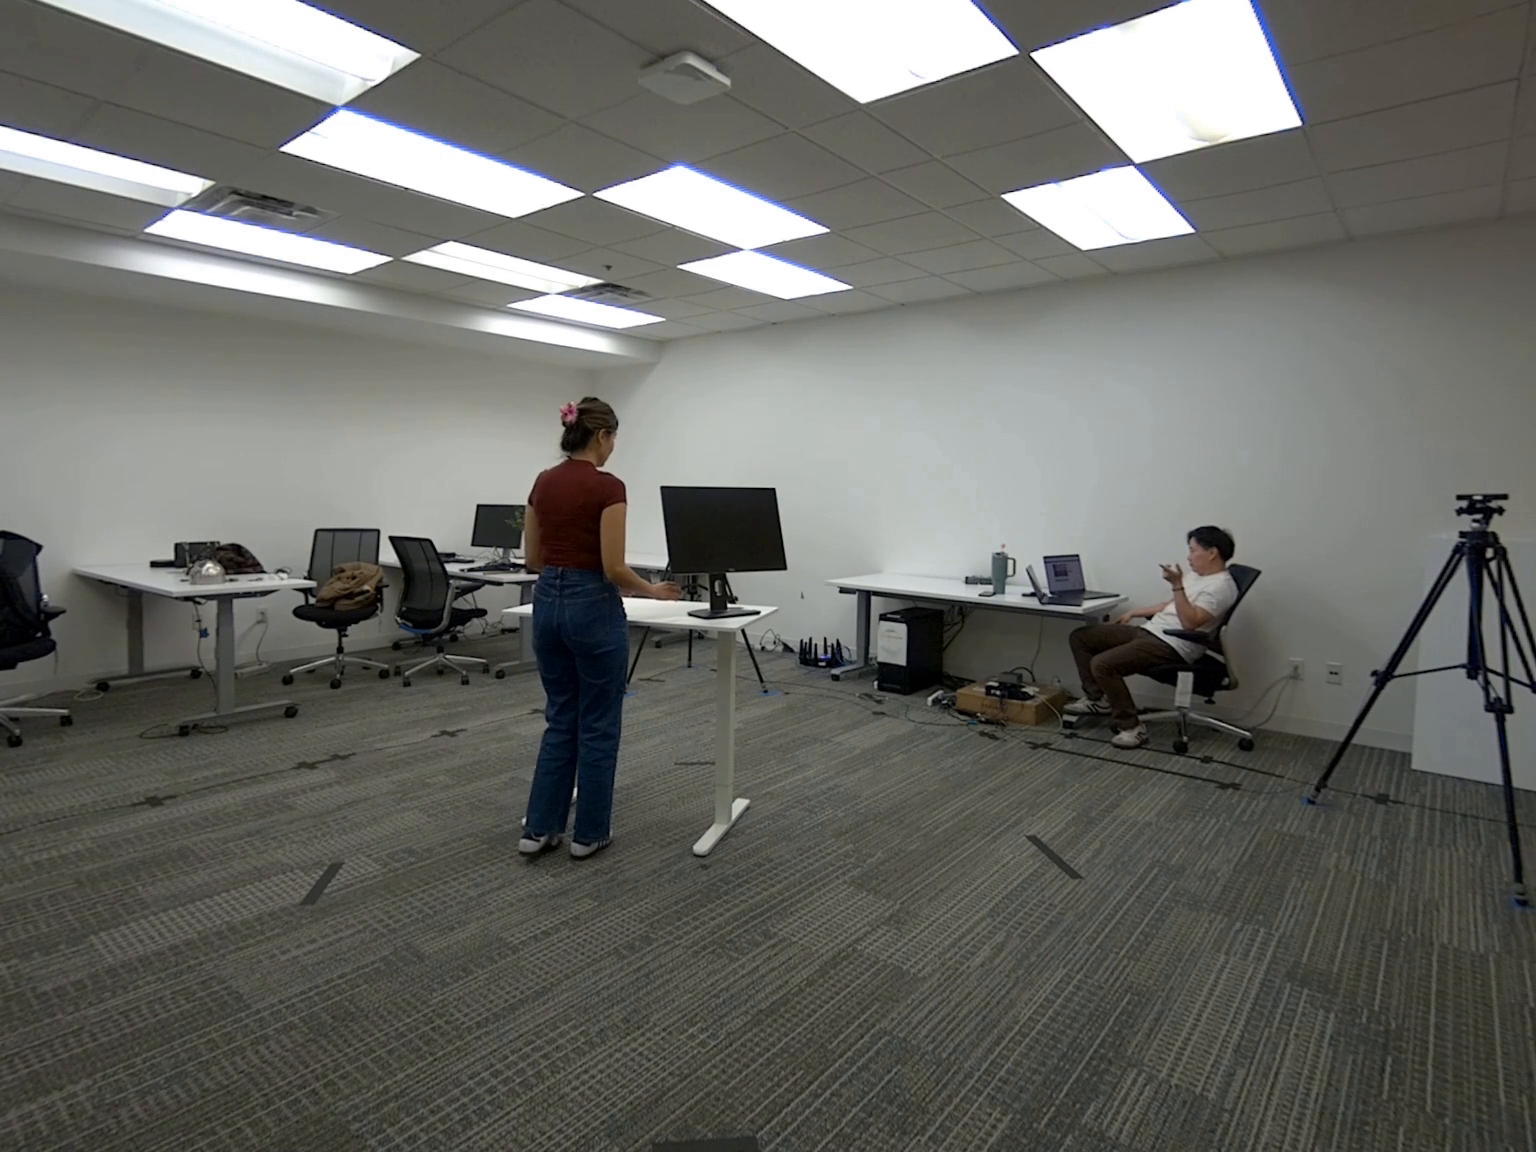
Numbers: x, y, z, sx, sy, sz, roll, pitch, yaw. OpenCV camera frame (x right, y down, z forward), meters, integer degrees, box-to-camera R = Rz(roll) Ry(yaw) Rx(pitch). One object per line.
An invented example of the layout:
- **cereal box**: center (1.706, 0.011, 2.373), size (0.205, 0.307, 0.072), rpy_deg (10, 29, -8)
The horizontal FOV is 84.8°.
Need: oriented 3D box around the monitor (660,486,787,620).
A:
- **monitor**: center (-0.198, -0.100, 3.426), size (0.524, 0.523, 0.192), rpy_deg (-2, 0, -32)
